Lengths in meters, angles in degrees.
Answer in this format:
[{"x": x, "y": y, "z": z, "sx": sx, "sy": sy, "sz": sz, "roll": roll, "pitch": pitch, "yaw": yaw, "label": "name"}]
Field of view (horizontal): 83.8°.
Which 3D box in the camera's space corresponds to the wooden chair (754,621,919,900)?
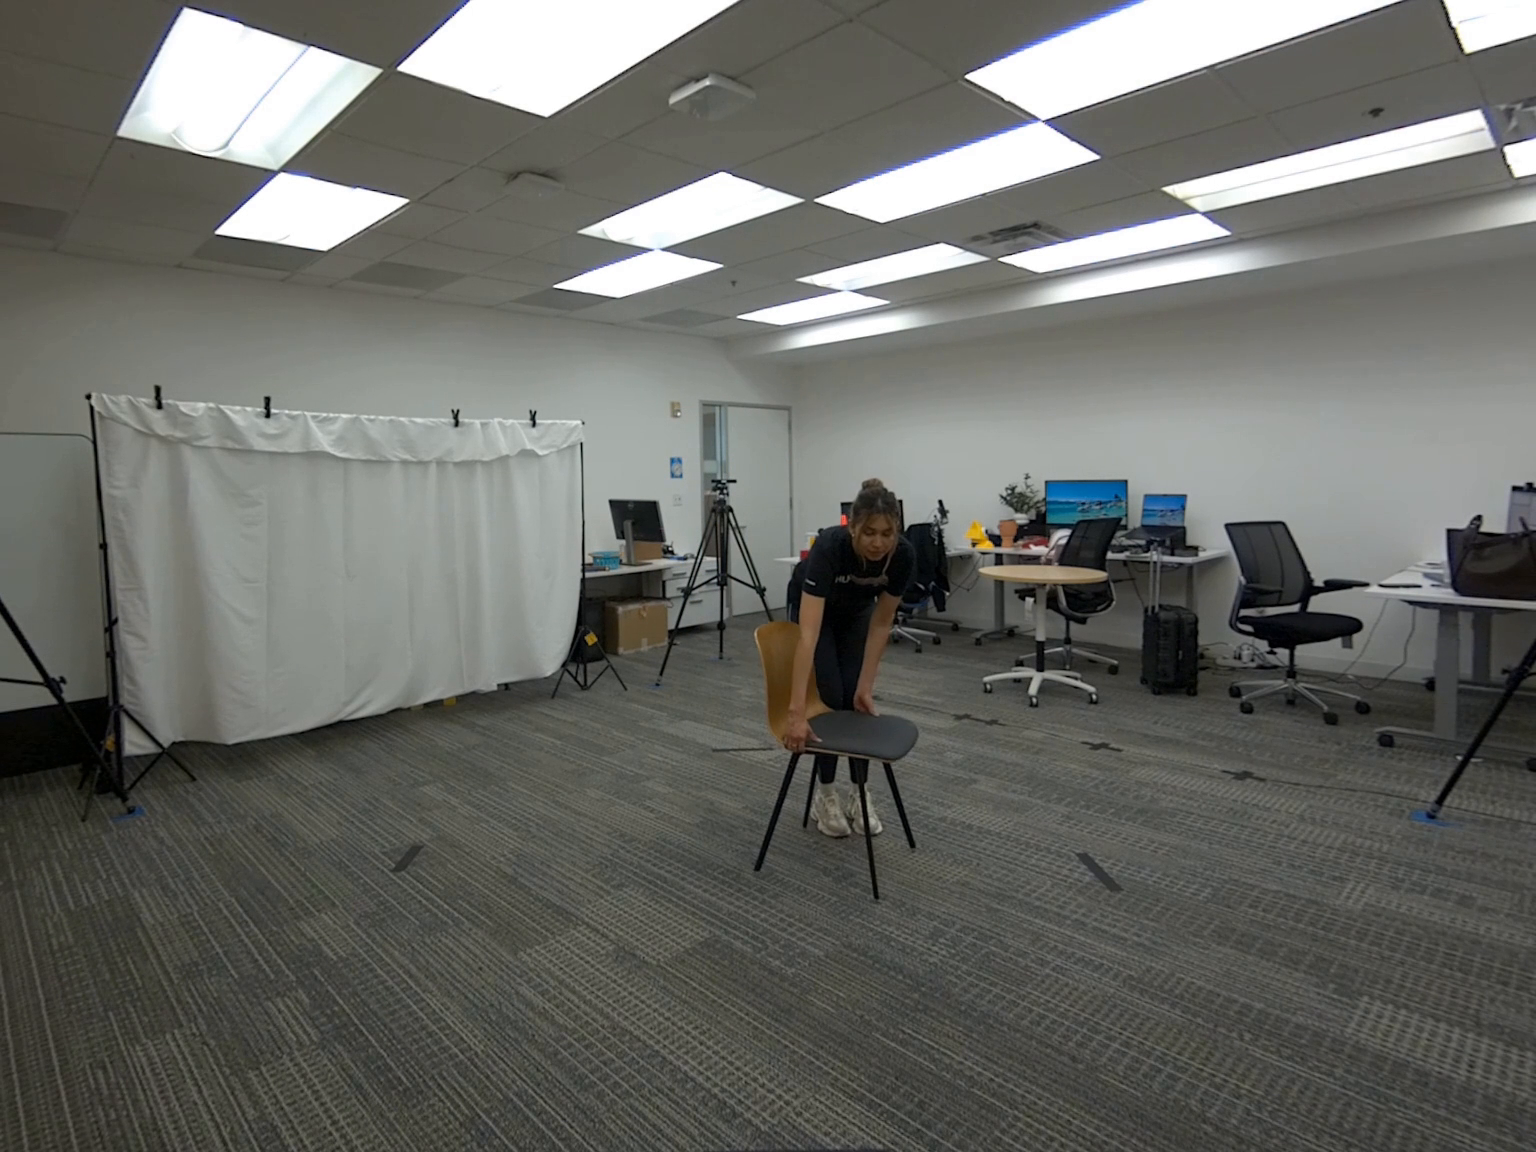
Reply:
[{"x": 0.254, "y": 0.600, "z": 3.074, "sx": 0.535, "sy": 0.876, "sz": 0.468, "roll": -3, "pitch": 2, "yaw": 27, "label": "wooden chair"}]
